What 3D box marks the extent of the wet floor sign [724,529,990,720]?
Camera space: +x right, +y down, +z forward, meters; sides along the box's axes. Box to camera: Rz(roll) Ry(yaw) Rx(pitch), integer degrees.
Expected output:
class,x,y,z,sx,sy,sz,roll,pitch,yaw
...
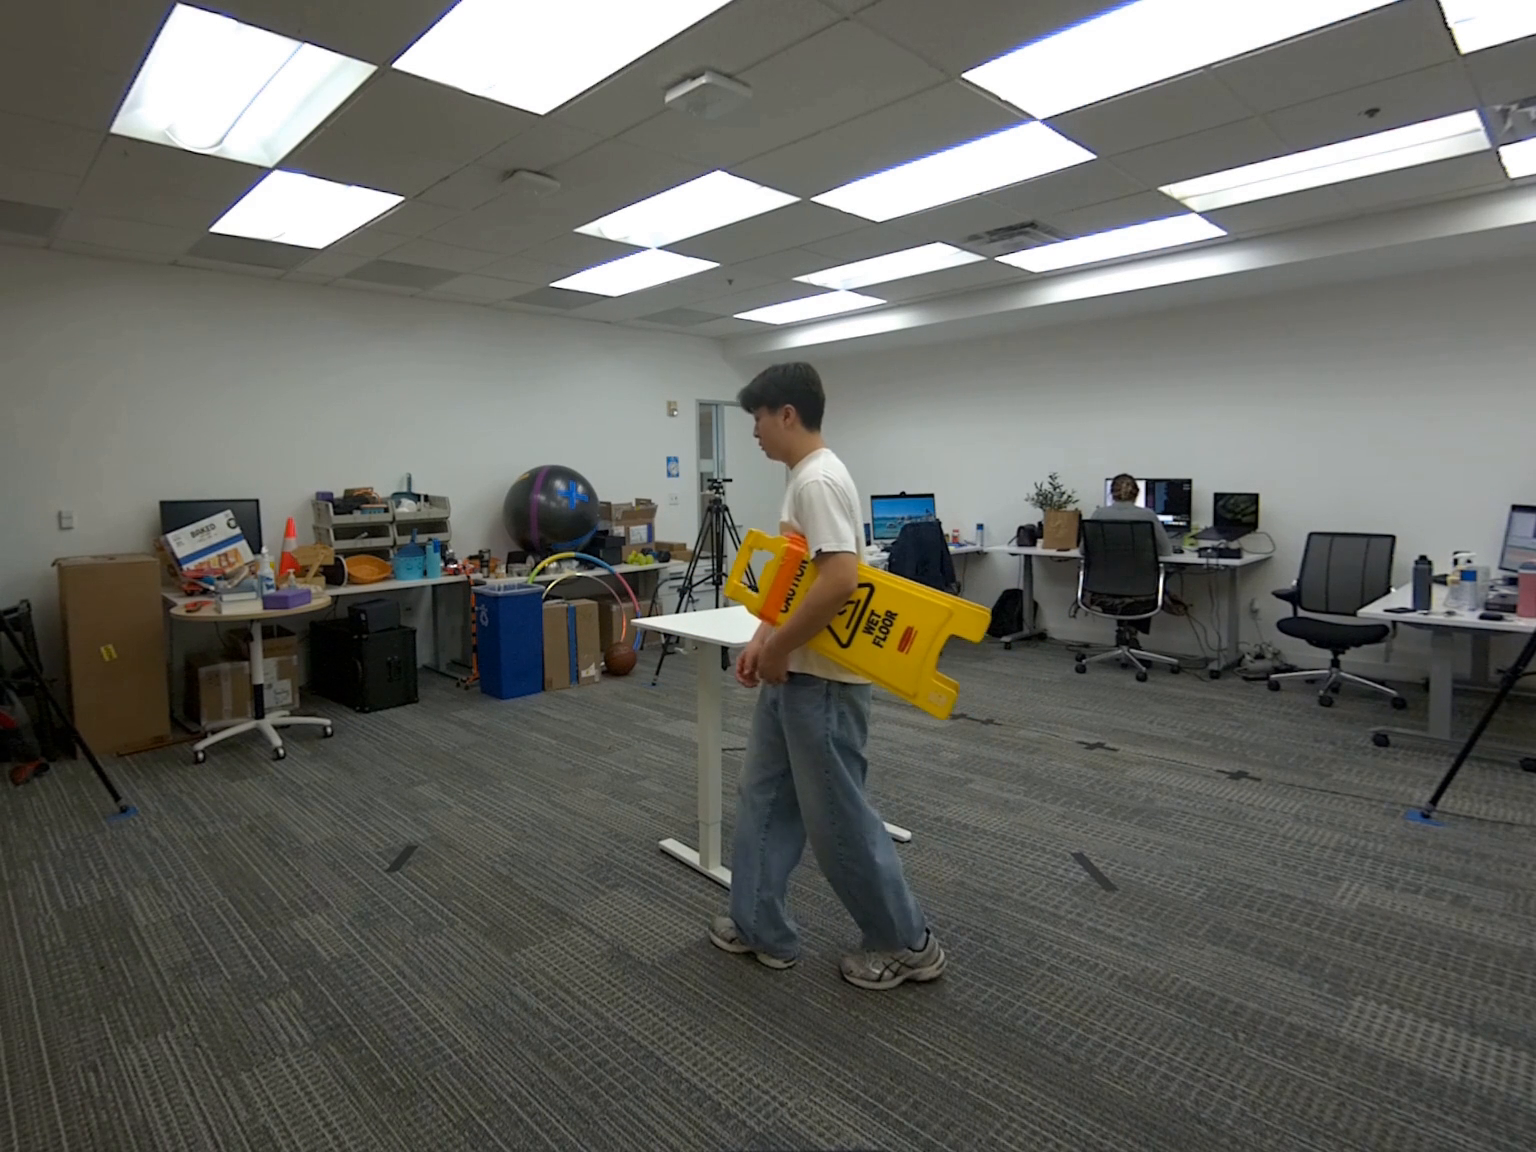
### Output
class,x,y,z,sx,sy,sz,roll,pitch,yaw
wet floor sign,0.202,0.088,2.215,0.654,0.281,0.287,23,5,10
